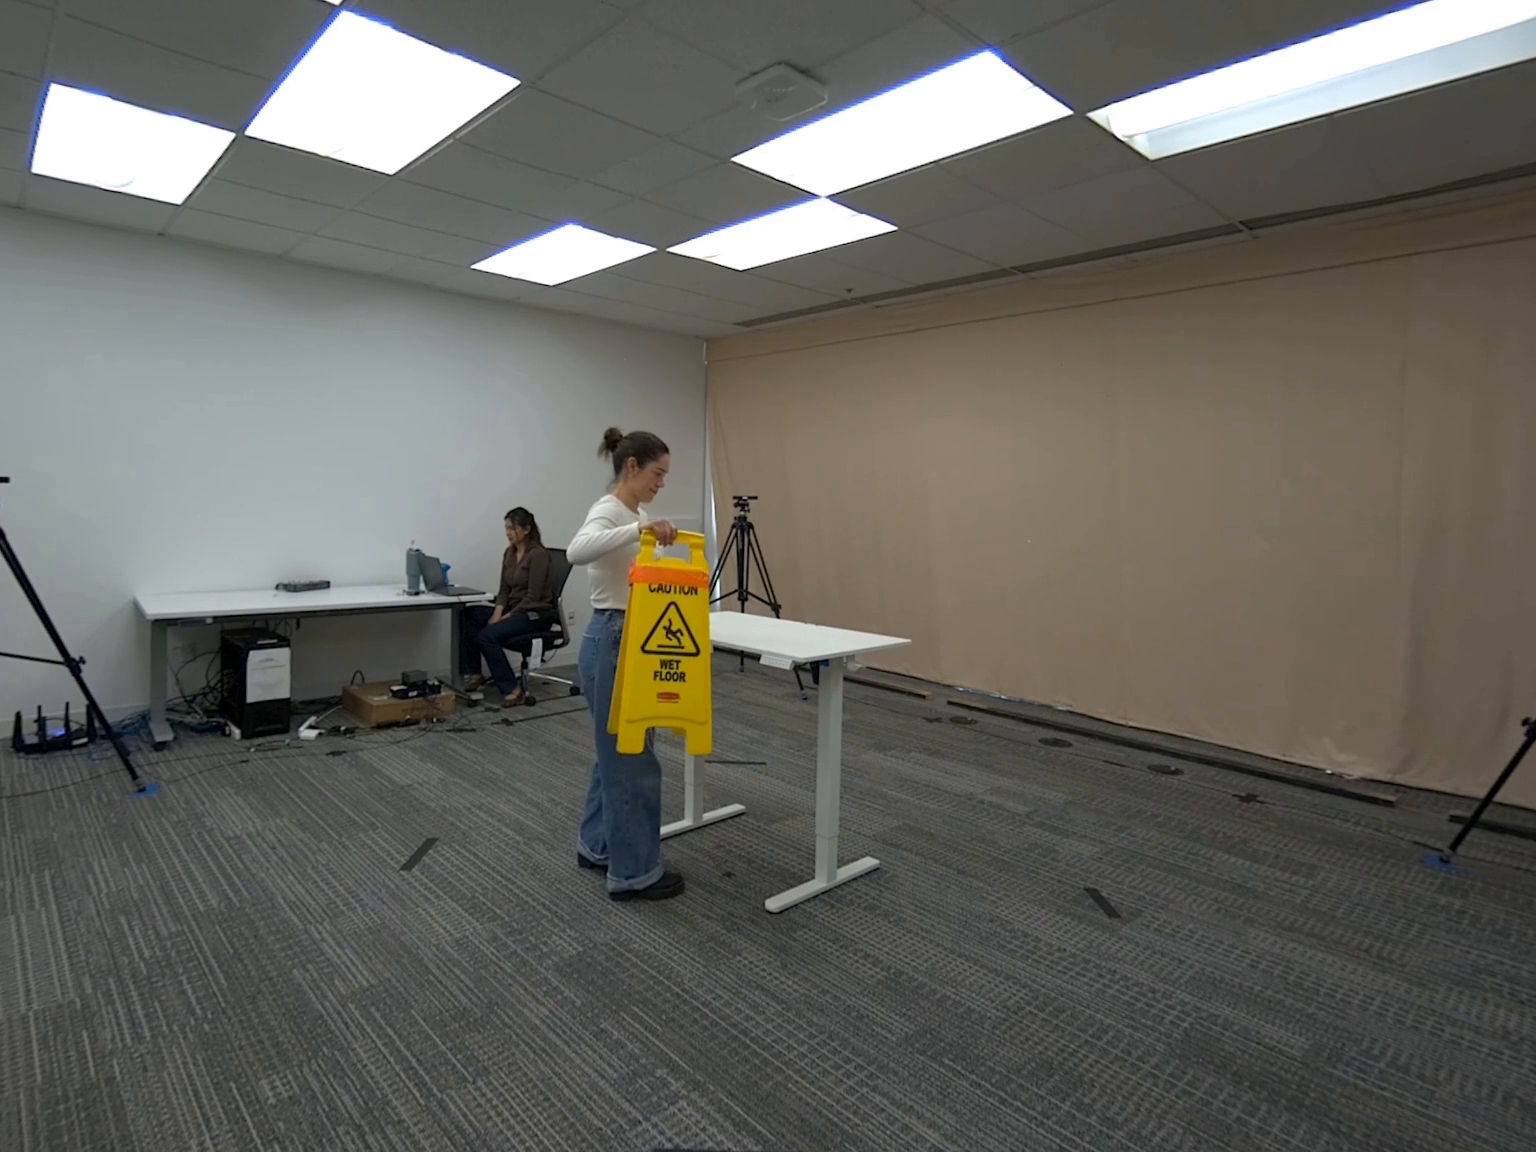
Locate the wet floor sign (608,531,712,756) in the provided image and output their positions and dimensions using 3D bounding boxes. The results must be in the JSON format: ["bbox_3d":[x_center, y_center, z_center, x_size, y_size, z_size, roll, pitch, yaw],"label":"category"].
[{"bbox_3d":[-0.320,0.183,2.560,0.279,0.647,0.292,5,-3,-14],"label":"wet floor sign"}]
